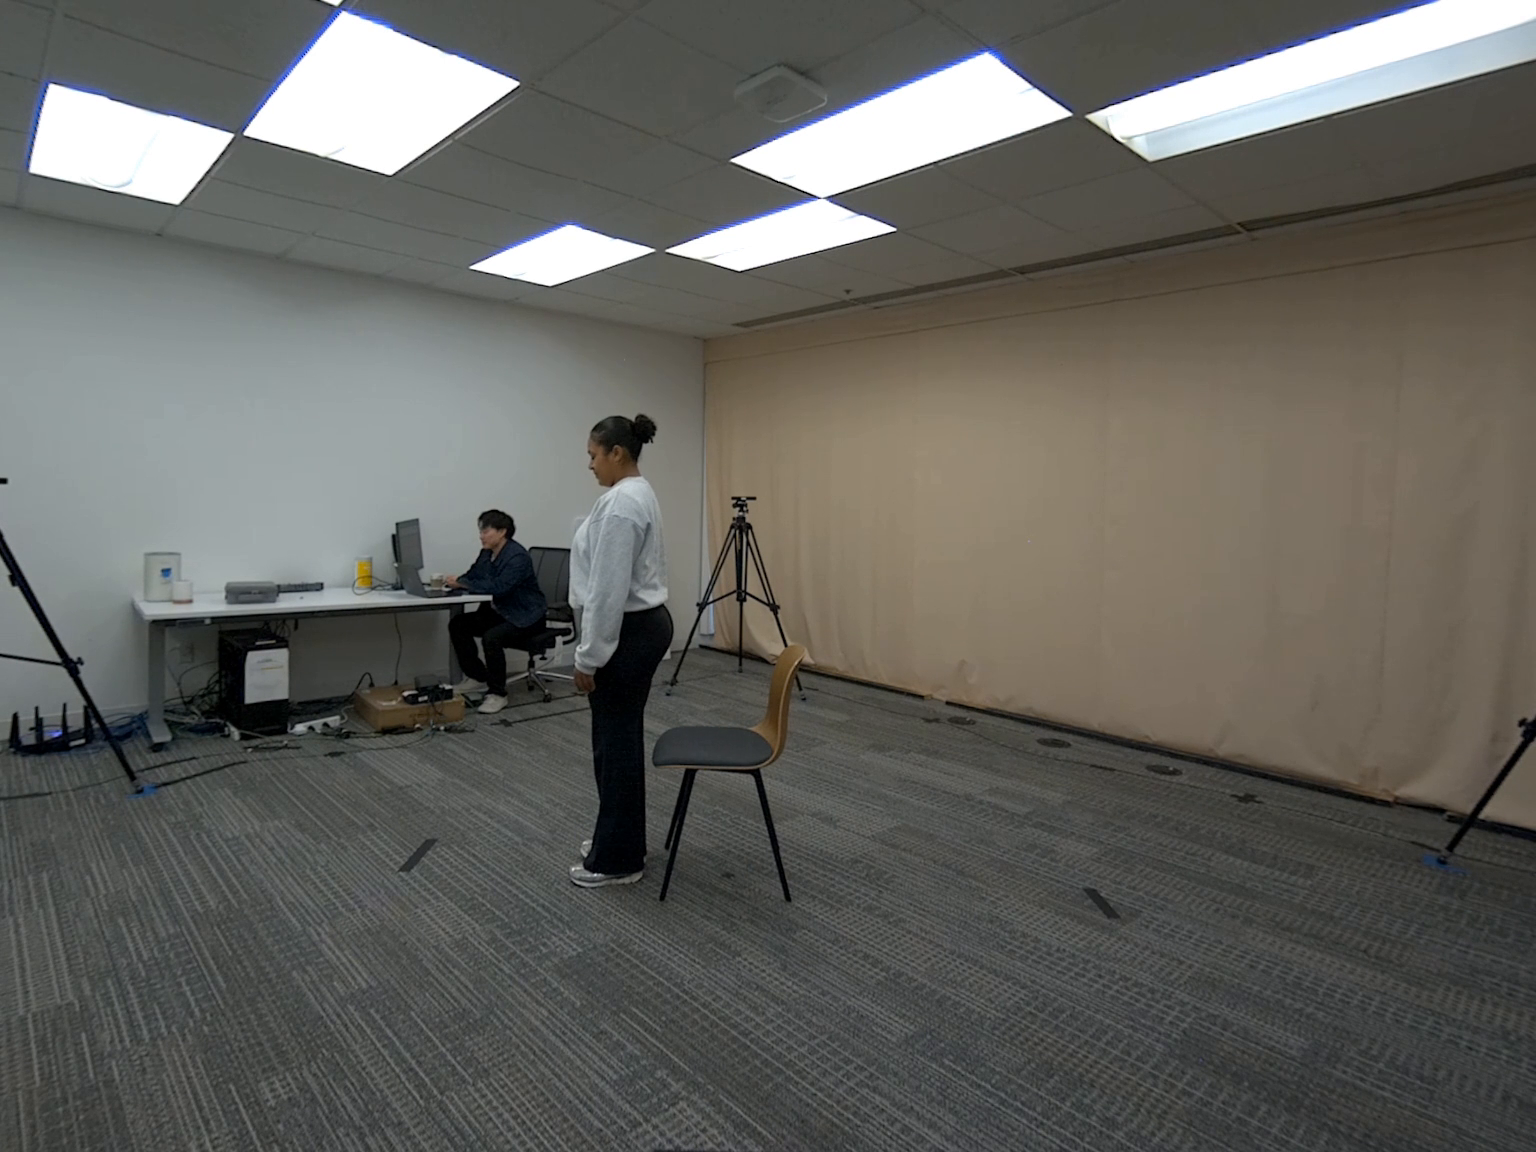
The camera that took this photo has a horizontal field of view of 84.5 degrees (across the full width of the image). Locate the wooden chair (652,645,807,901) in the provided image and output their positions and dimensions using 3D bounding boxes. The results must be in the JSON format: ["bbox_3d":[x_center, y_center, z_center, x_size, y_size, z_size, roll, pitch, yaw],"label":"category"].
[{"bbox_3d":[-0.165,0.677,3.088,0.521,0.875,0.481,5,4,-4],"label":"wooden chair"}]
